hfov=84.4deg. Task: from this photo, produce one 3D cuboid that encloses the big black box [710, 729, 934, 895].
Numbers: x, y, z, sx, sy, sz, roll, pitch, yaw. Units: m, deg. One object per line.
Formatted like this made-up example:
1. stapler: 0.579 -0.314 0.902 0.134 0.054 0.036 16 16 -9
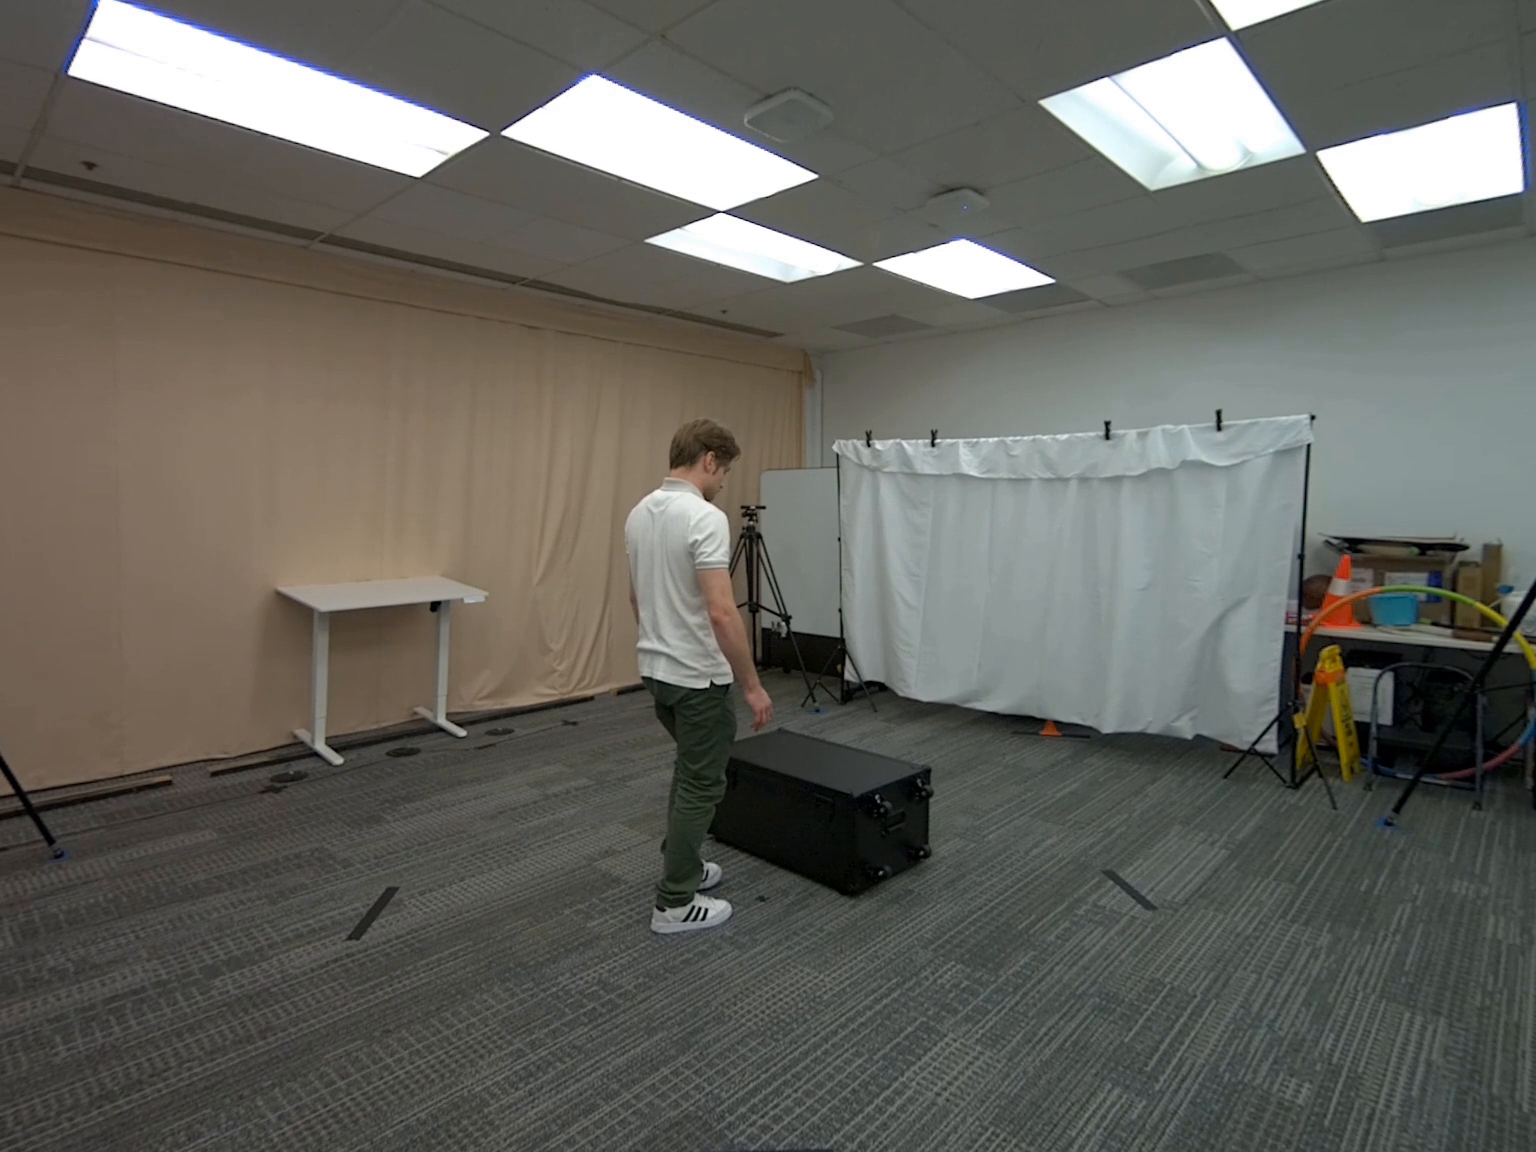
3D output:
1. big black box: 0.210 0.918 3.378 0.890 0.395 0.505 3 5 44
